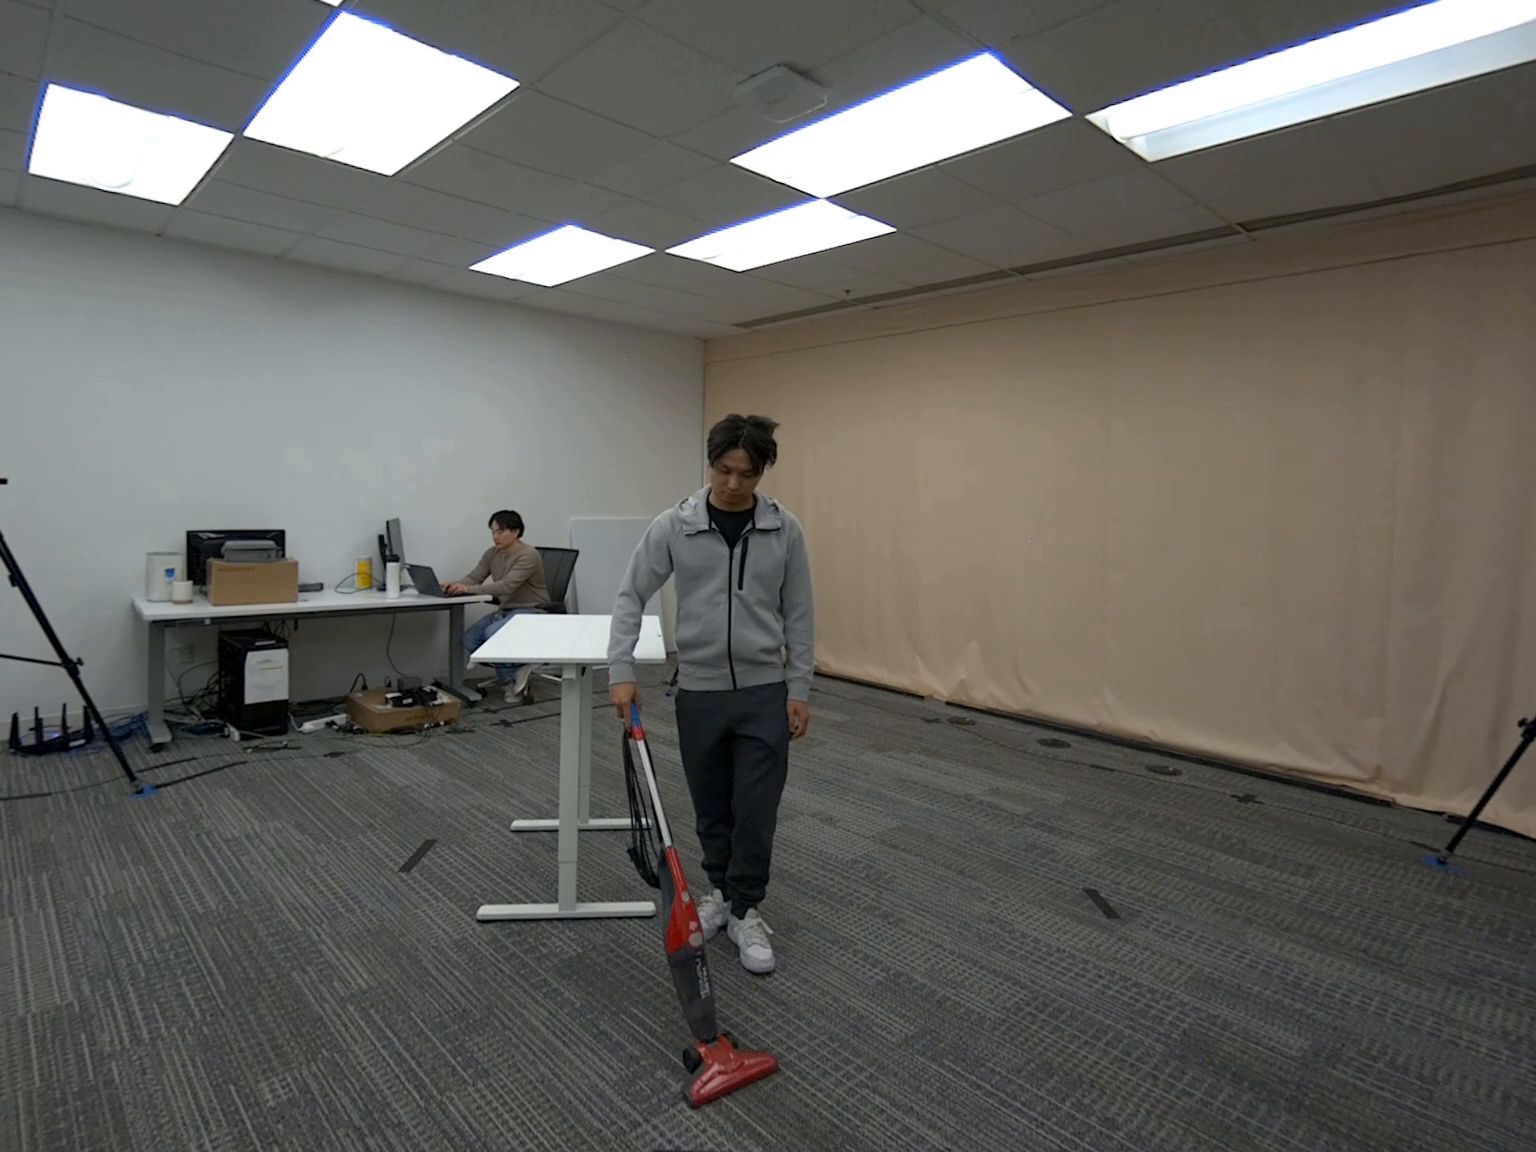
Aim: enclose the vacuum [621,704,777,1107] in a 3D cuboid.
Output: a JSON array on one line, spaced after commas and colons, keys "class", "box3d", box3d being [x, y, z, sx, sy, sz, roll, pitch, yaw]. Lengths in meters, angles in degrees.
[{"class": "vacuum", "box3d": [-0.292, 0.750, 2.261, 0.247, 1.073, 0.144, -3, -31, -34]}]
